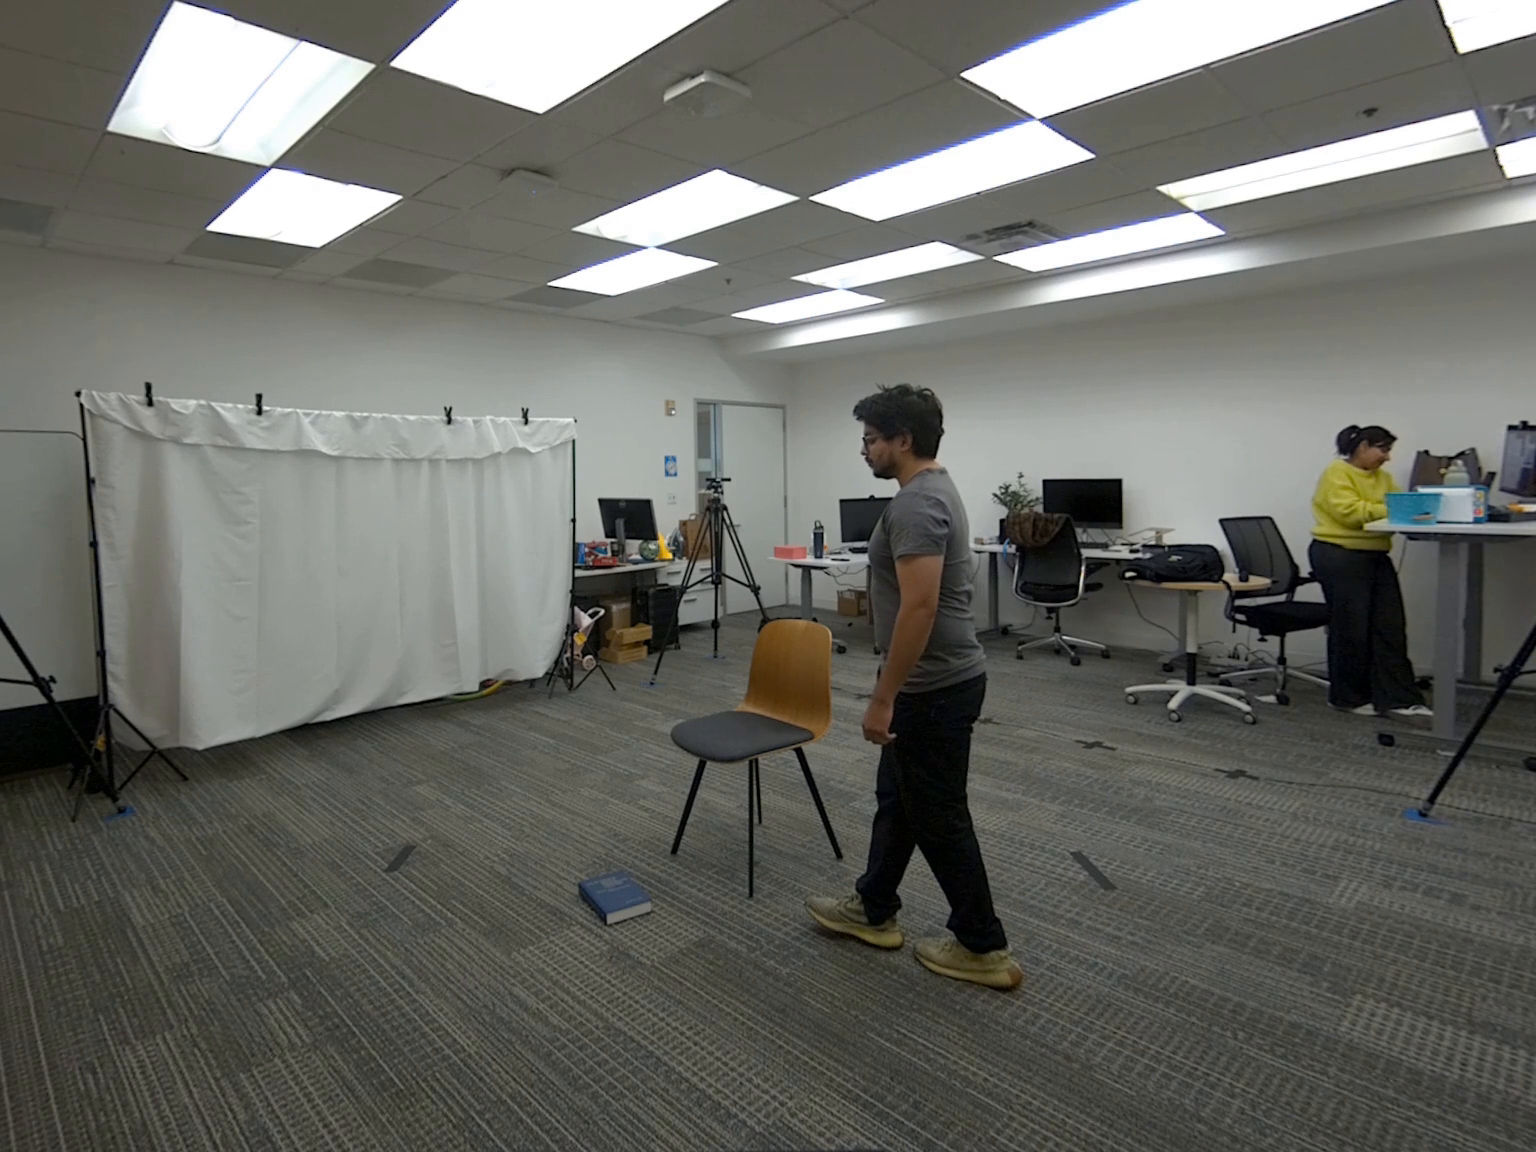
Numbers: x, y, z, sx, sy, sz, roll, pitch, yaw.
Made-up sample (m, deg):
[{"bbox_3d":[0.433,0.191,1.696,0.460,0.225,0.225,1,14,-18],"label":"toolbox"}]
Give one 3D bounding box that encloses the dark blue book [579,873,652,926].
[{"bbox_3d":[-0.501,1.057,2.823,0.159,0.045,0.252,-6,8,-32],"label":"dark blue book"}]
